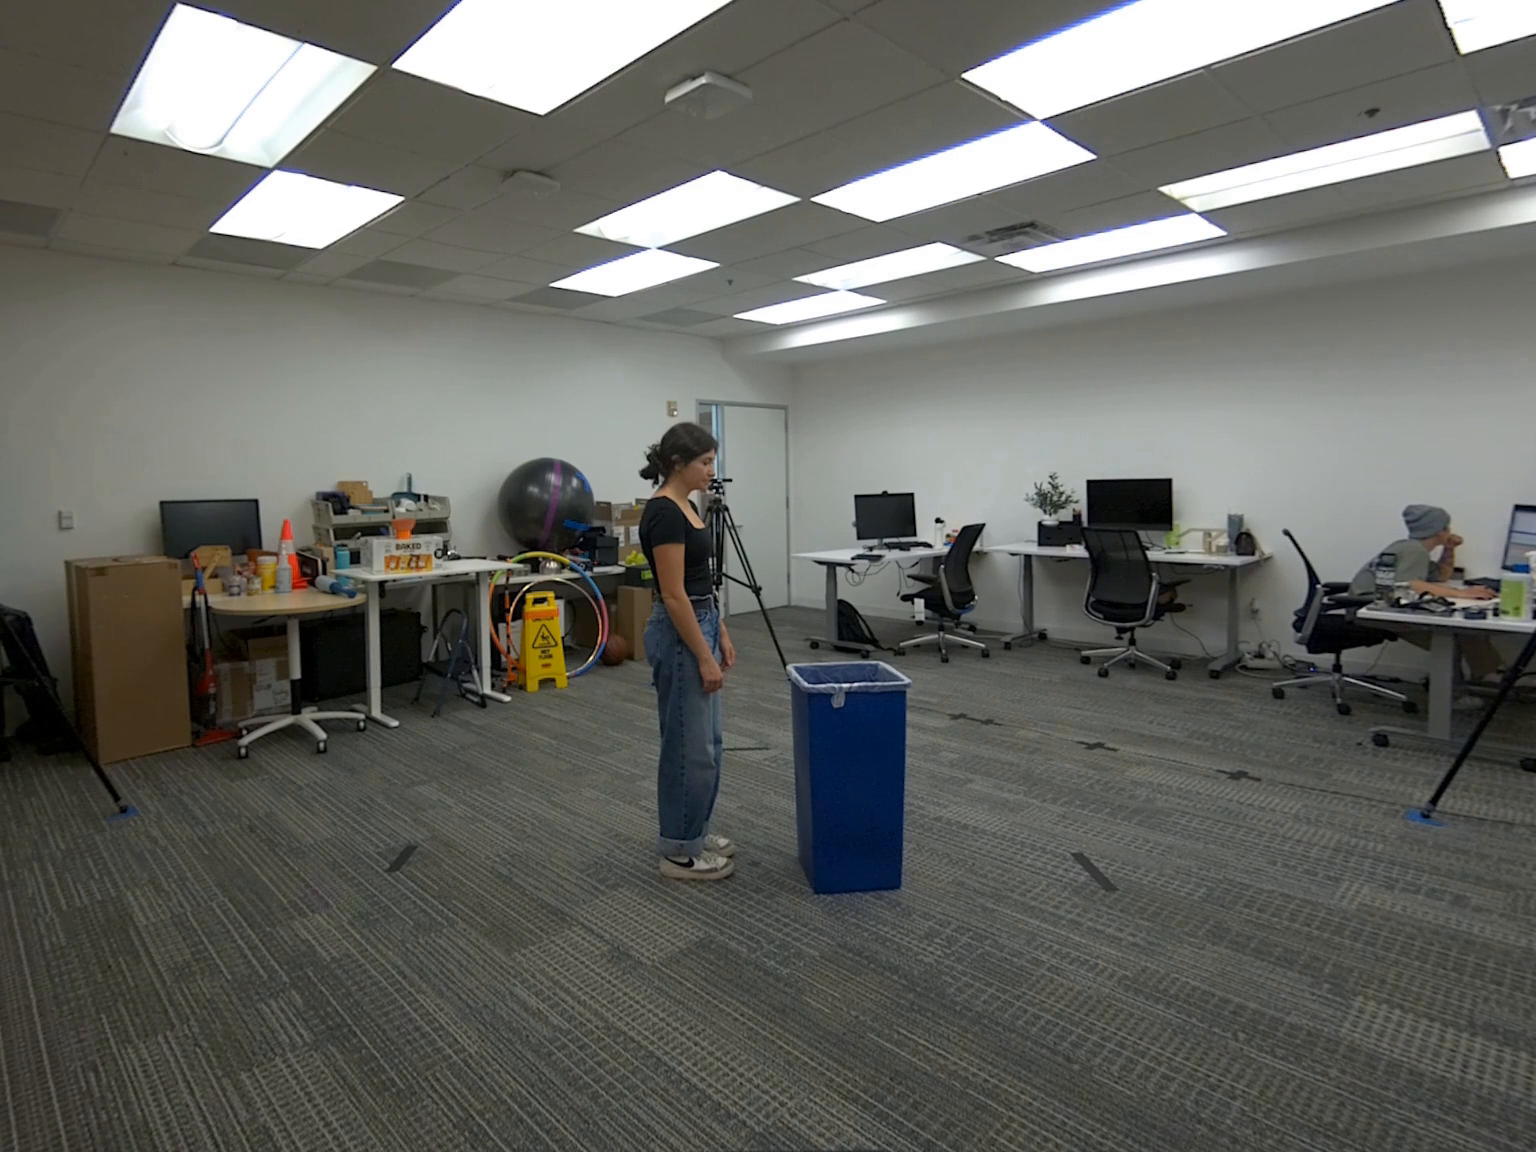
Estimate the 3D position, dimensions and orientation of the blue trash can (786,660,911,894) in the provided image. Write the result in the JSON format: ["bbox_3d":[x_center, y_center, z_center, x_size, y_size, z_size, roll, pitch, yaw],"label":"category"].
[{"bbox_3d":[0.273,0.692,3.005,0.375,0.711,0.378,-1,4,-8],"label":"blue trash can"}]
